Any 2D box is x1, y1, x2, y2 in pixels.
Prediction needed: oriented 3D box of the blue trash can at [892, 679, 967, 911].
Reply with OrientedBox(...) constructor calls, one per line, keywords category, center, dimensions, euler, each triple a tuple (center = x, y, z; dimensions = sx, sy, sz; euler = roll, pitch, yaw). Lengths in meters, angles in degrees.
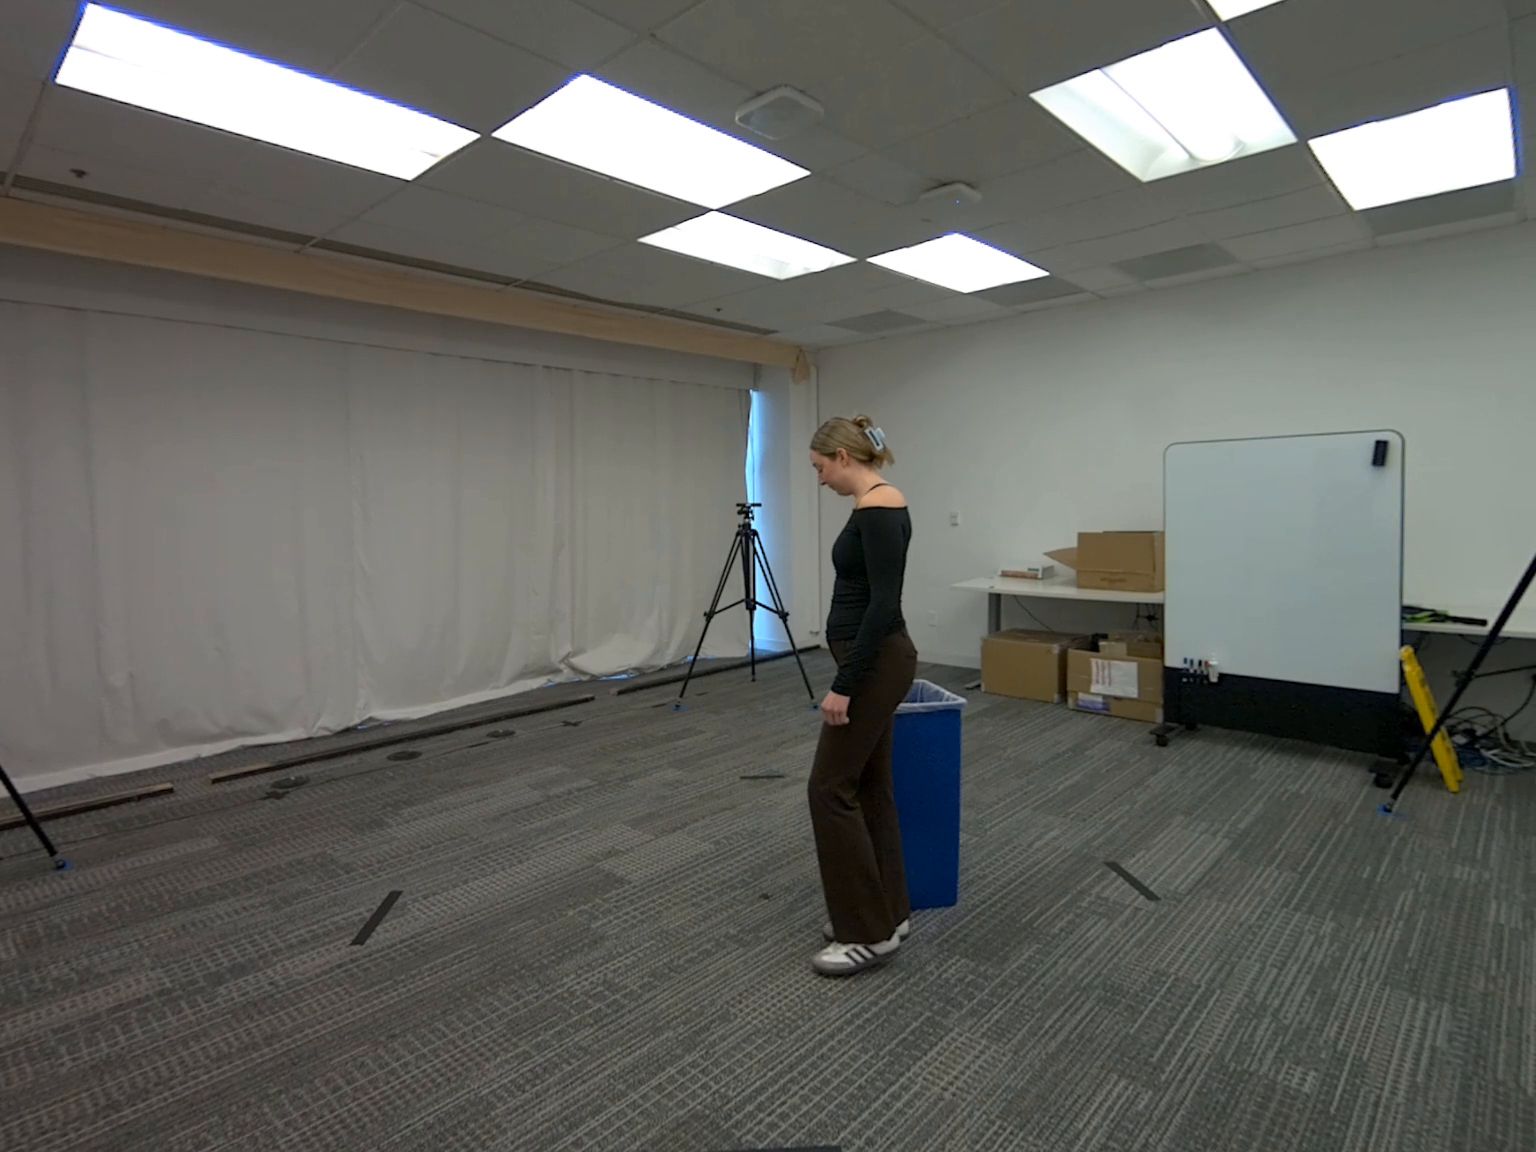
OrientedBox(category="blue trash can", center=(0.461, 0.764, 2.987), dimensions=(0.369, 0.712, 0.384), euler=(-2, 3, -13))
